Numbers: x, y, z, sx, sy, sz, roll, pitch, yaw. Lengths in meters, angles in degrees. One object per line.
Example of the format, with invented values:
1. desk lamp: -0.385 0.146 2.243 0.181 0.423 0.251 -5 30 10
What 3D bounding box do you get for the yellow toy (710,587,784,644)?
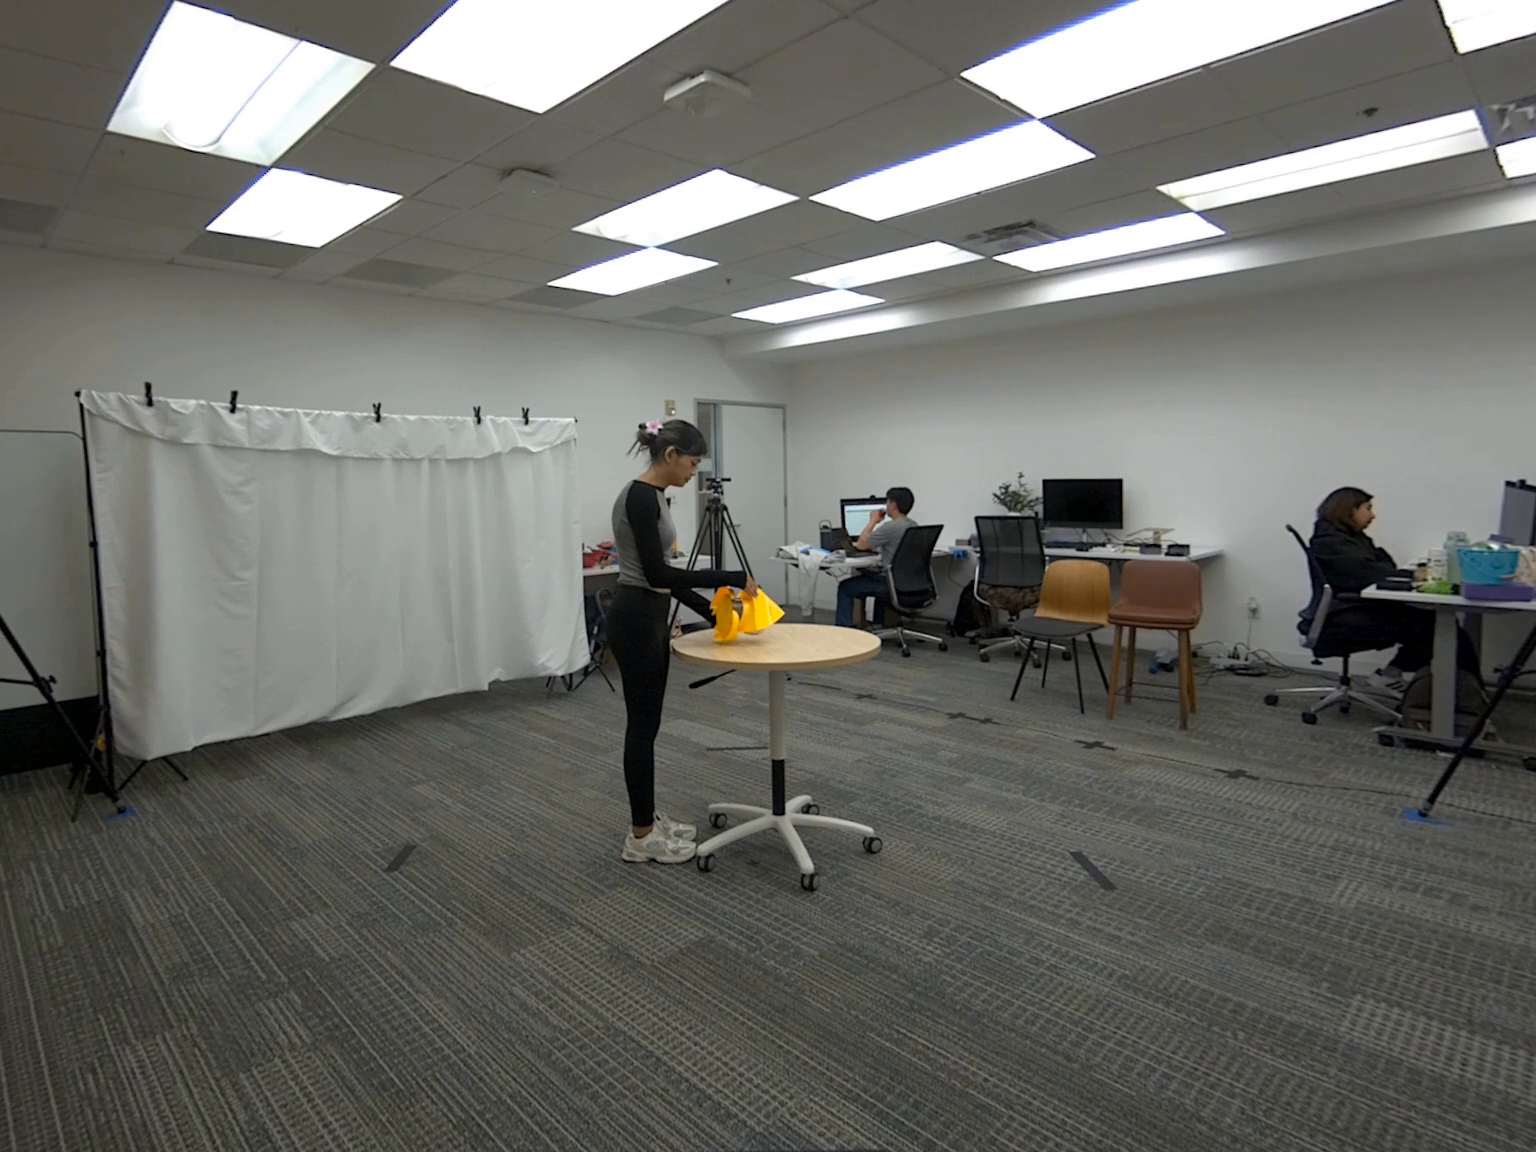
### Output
1. yellow toy: -0.065 0.150 3.166 0.224 0.210 0.193 10 -33 -28
